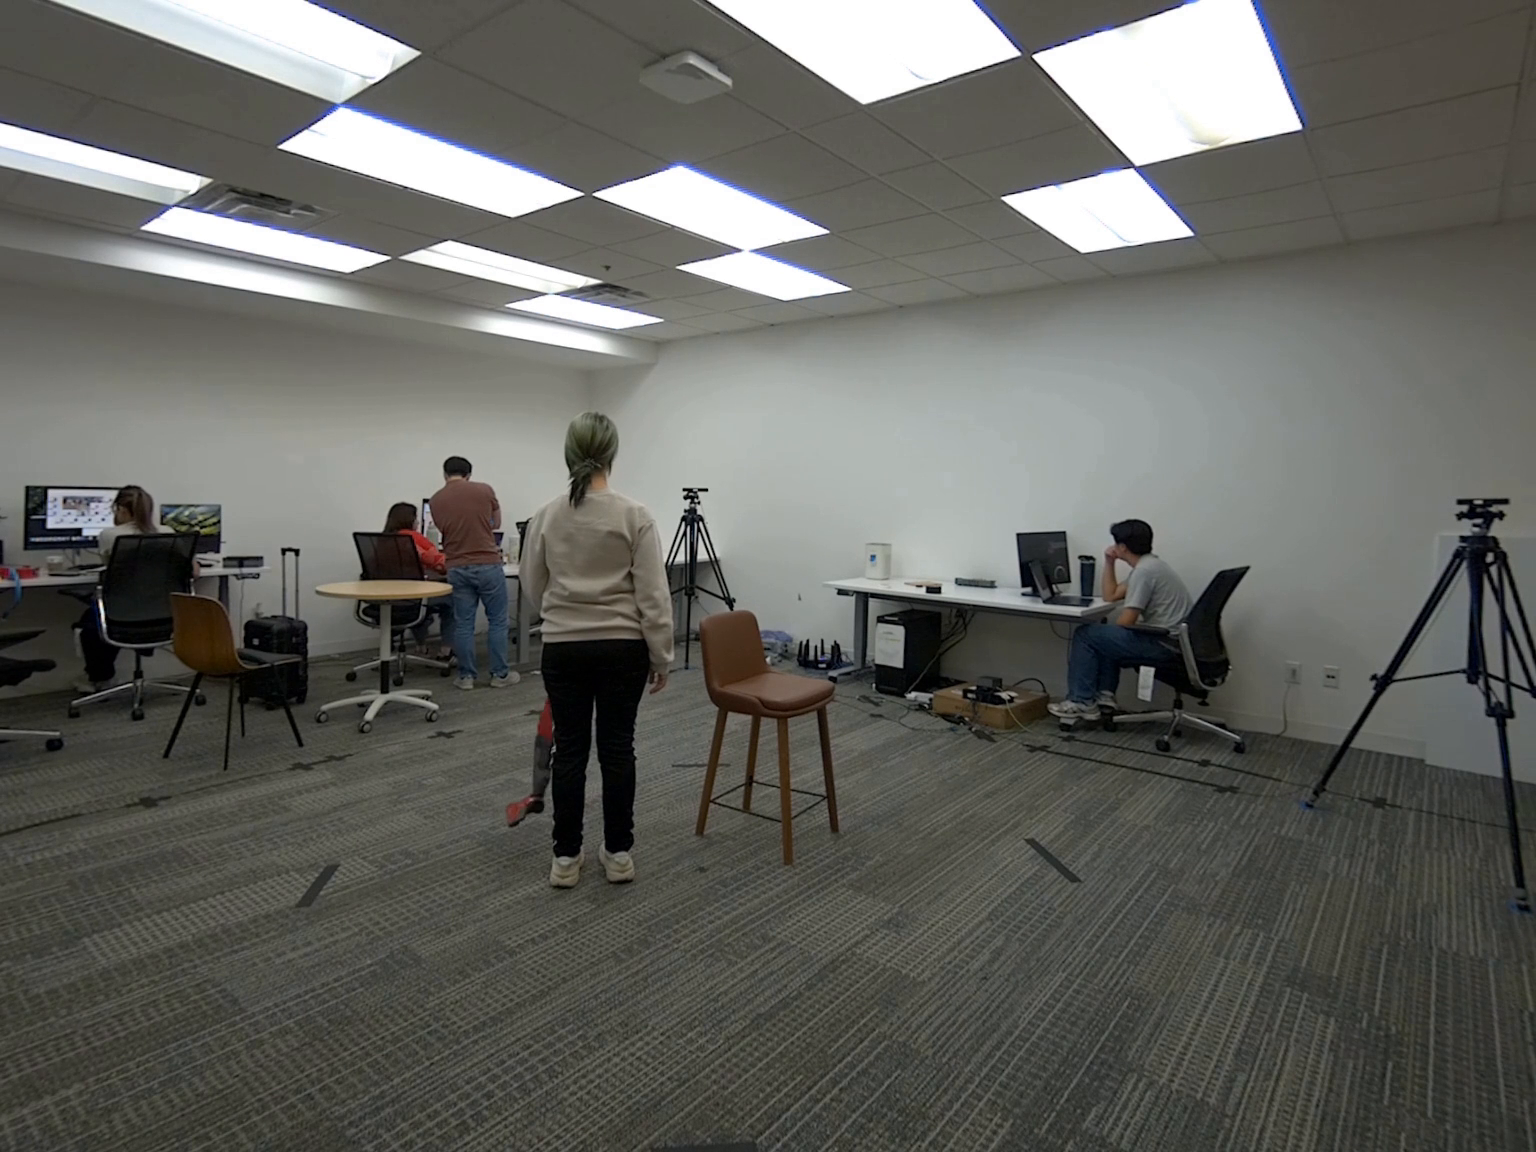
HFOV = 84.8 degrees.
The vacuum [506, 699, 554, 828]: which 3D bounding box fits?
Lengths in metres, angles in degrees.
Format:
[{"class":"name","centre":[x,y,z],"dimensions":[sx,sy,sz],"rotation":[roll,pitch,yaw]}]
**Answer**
[{"class":"vacuum","centre":[-0.782,0.384,3.308],"dimensions":[0.140,1.056,0.257],"rotation":[20,-11,-21]}]
